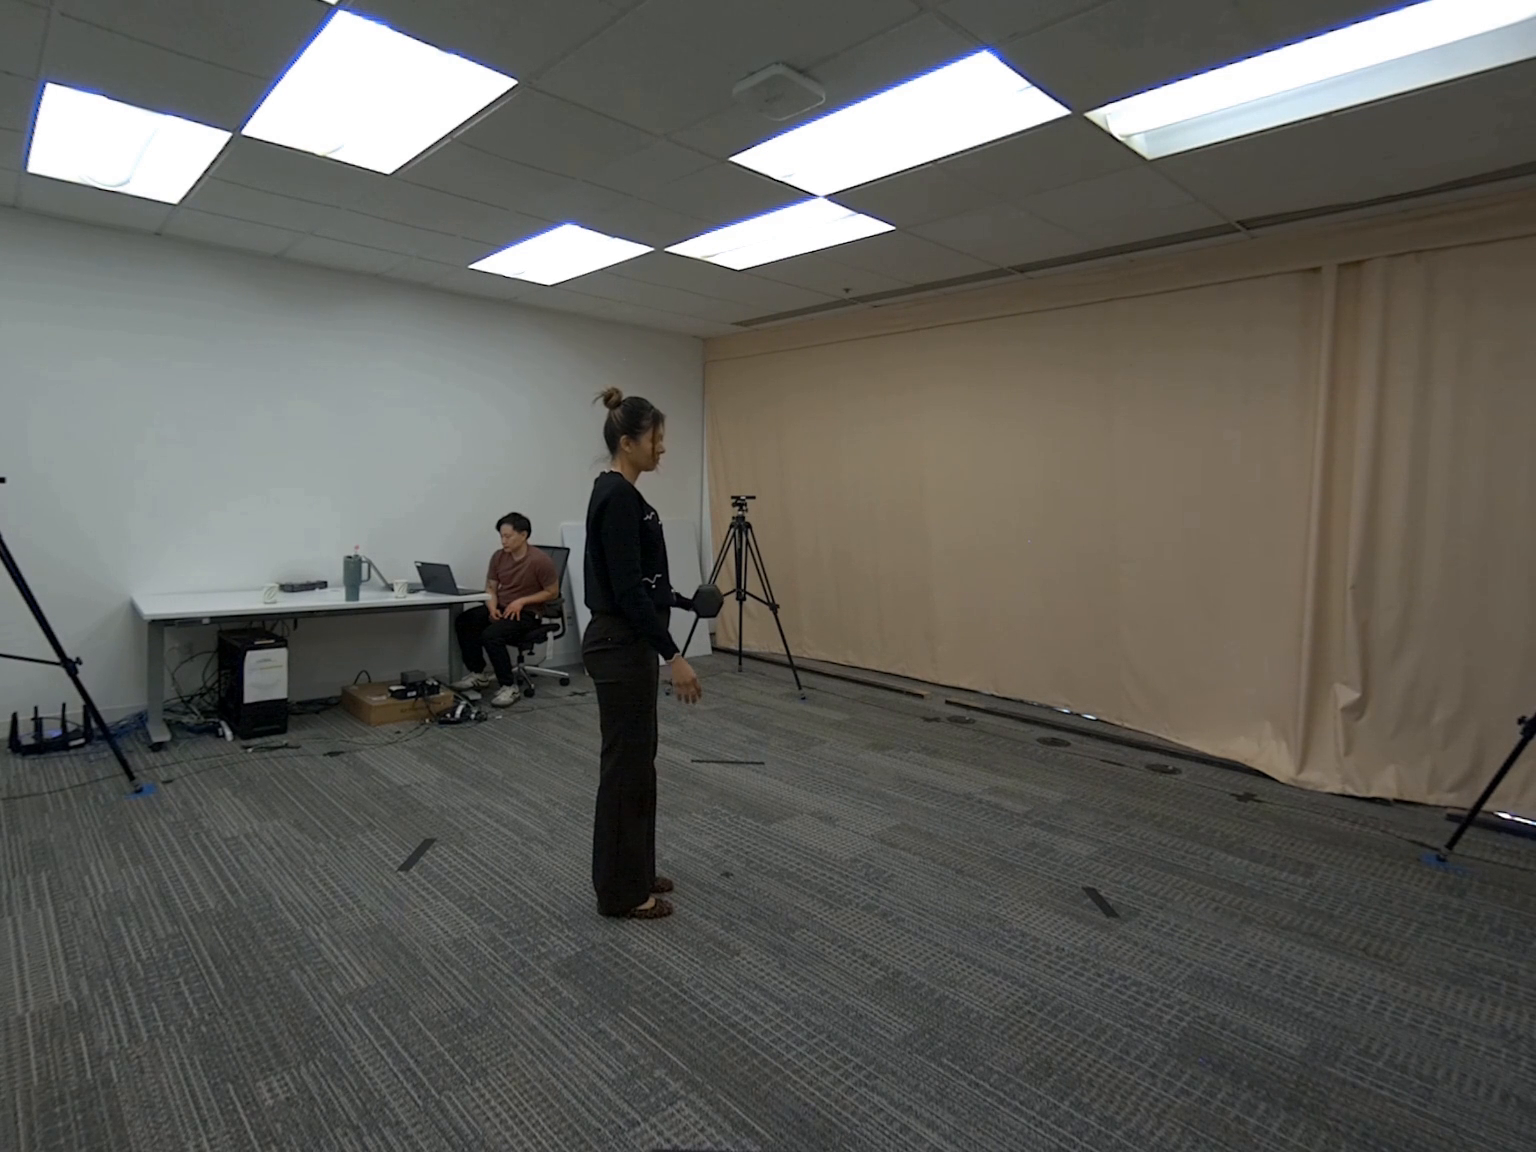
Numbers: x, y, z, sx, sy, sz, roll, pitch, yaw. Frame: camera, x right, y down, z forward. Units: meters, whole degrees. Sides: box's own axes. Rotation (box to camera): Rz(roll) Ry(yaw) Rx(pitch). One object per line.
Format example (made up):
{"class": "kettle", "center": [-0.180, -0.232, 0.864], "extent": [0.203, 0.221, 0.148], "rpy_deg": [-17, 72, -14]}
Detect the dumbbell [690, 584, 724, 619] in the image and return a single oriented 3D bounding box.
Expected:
{"class": "dumbbell", "center": [-0.236, 0.086, 3.101], "extent": [0.123, 0.108, 0.295], "rpy_deg": [-4, 3, -4]}
